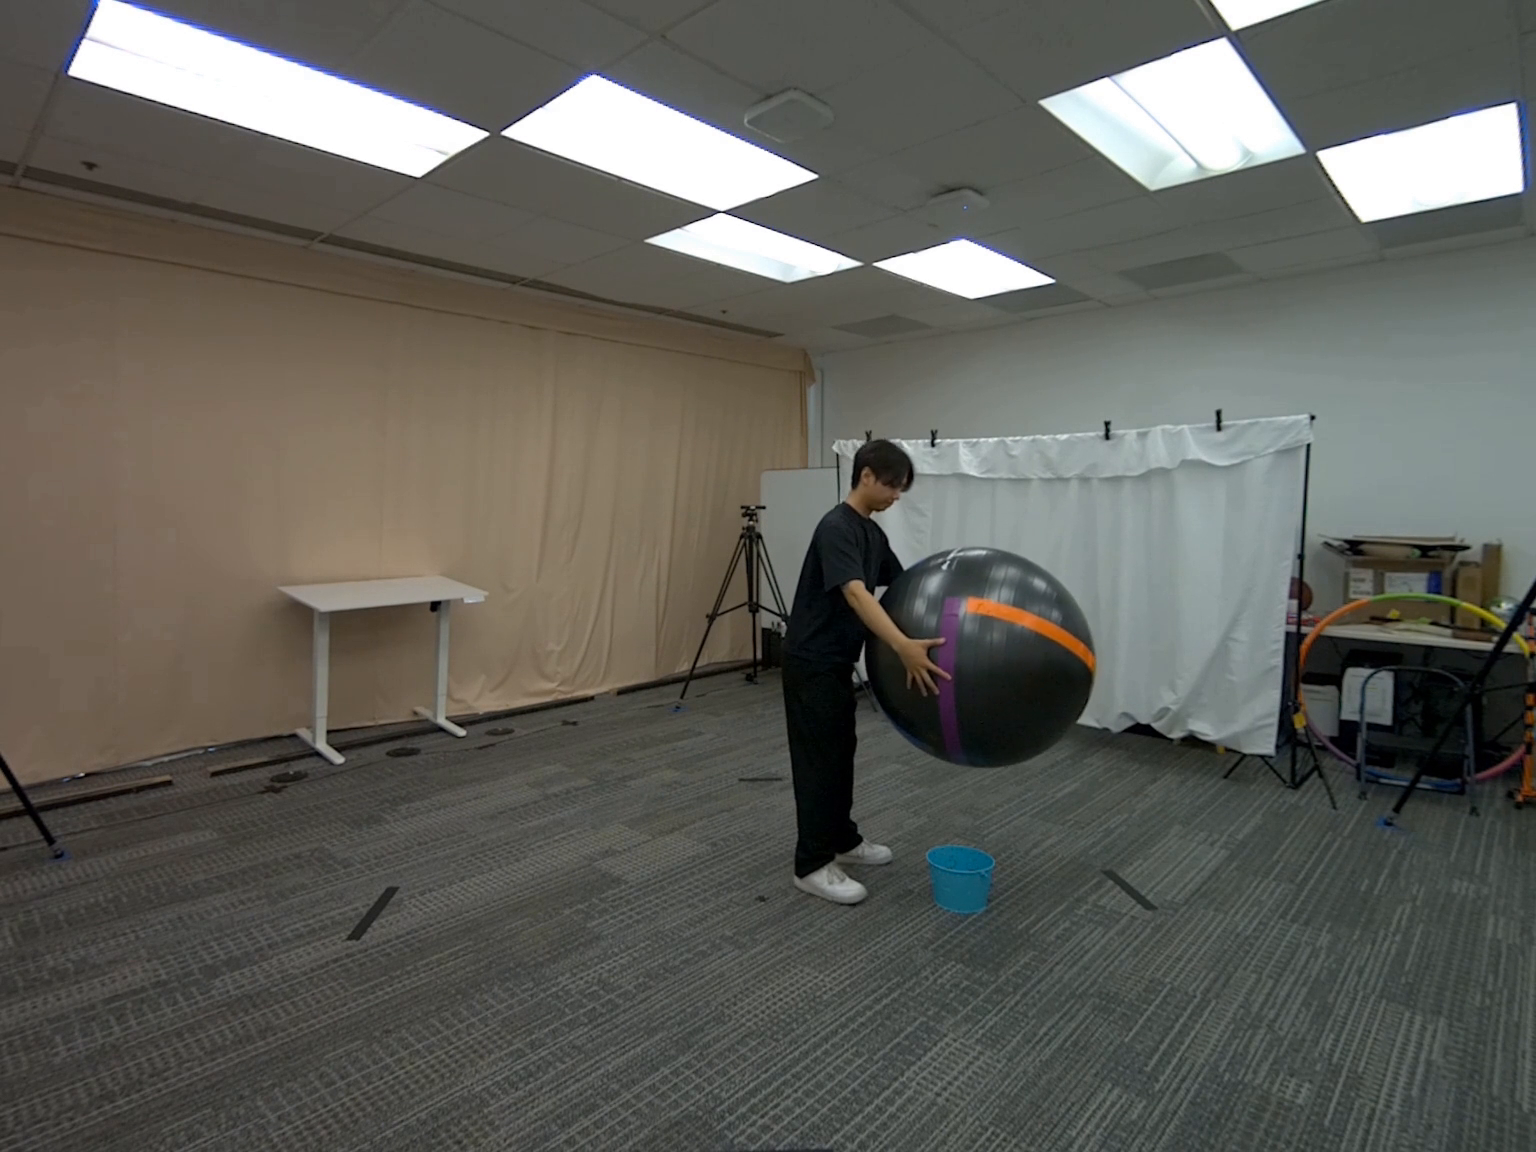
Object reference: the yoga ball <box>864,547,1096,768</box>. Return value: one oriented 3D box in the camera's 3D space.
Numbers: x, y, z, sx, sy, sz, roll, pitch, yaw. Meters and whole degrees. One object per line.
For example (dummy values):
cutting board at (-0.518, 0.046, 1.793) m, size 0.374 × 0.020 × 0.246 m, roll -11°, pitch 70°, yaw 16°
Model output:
yoga ball at (0.737, 0.288, 2.930) m, size 0.757 × 0.756 × 0.760 m, roll 0°, pitch 4°, yaw -2°
